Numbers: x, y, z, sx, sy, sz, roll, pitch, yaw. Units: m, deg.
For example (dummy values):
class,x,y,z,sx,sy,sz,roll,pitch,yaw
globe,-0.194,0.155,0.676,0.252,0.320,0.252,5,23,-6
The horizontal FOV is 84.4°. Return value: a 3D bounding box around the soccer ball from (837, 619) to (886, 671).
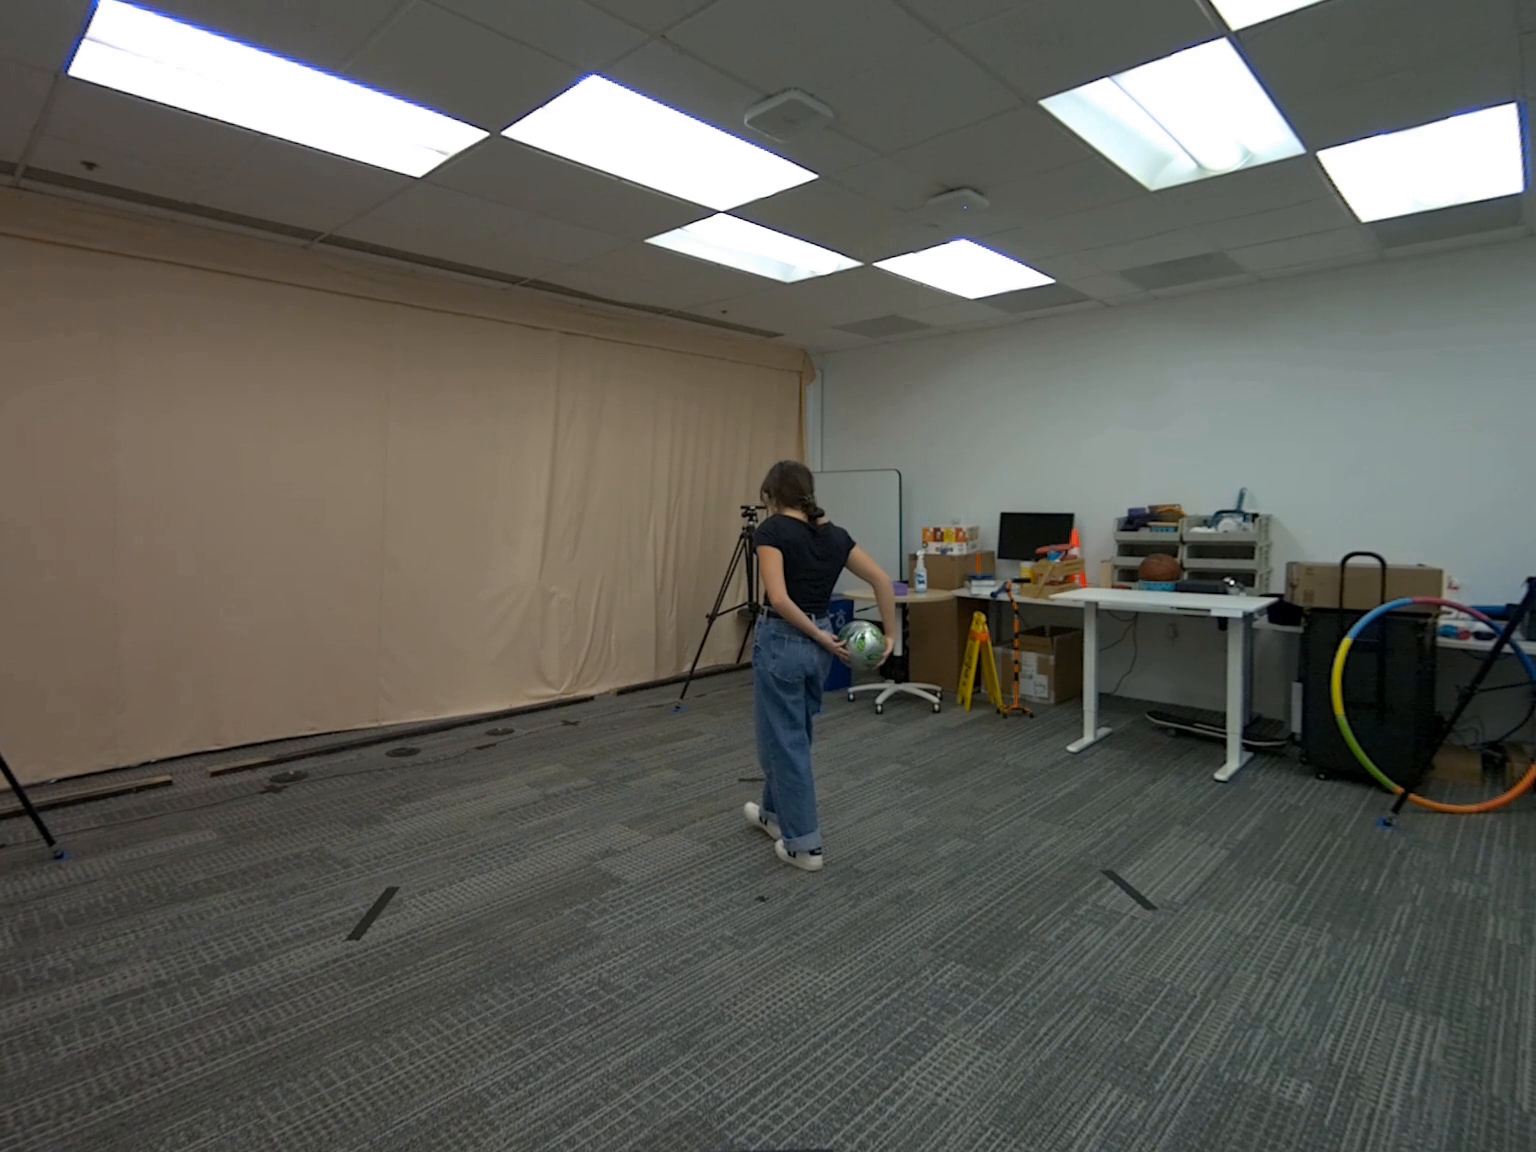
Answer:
class,x,y,z,sx,sy,sz,roll,pitch,yaw
soccer ball,0.367,0.264,3.232,0.187,0.187,0.188,0,4,-2
